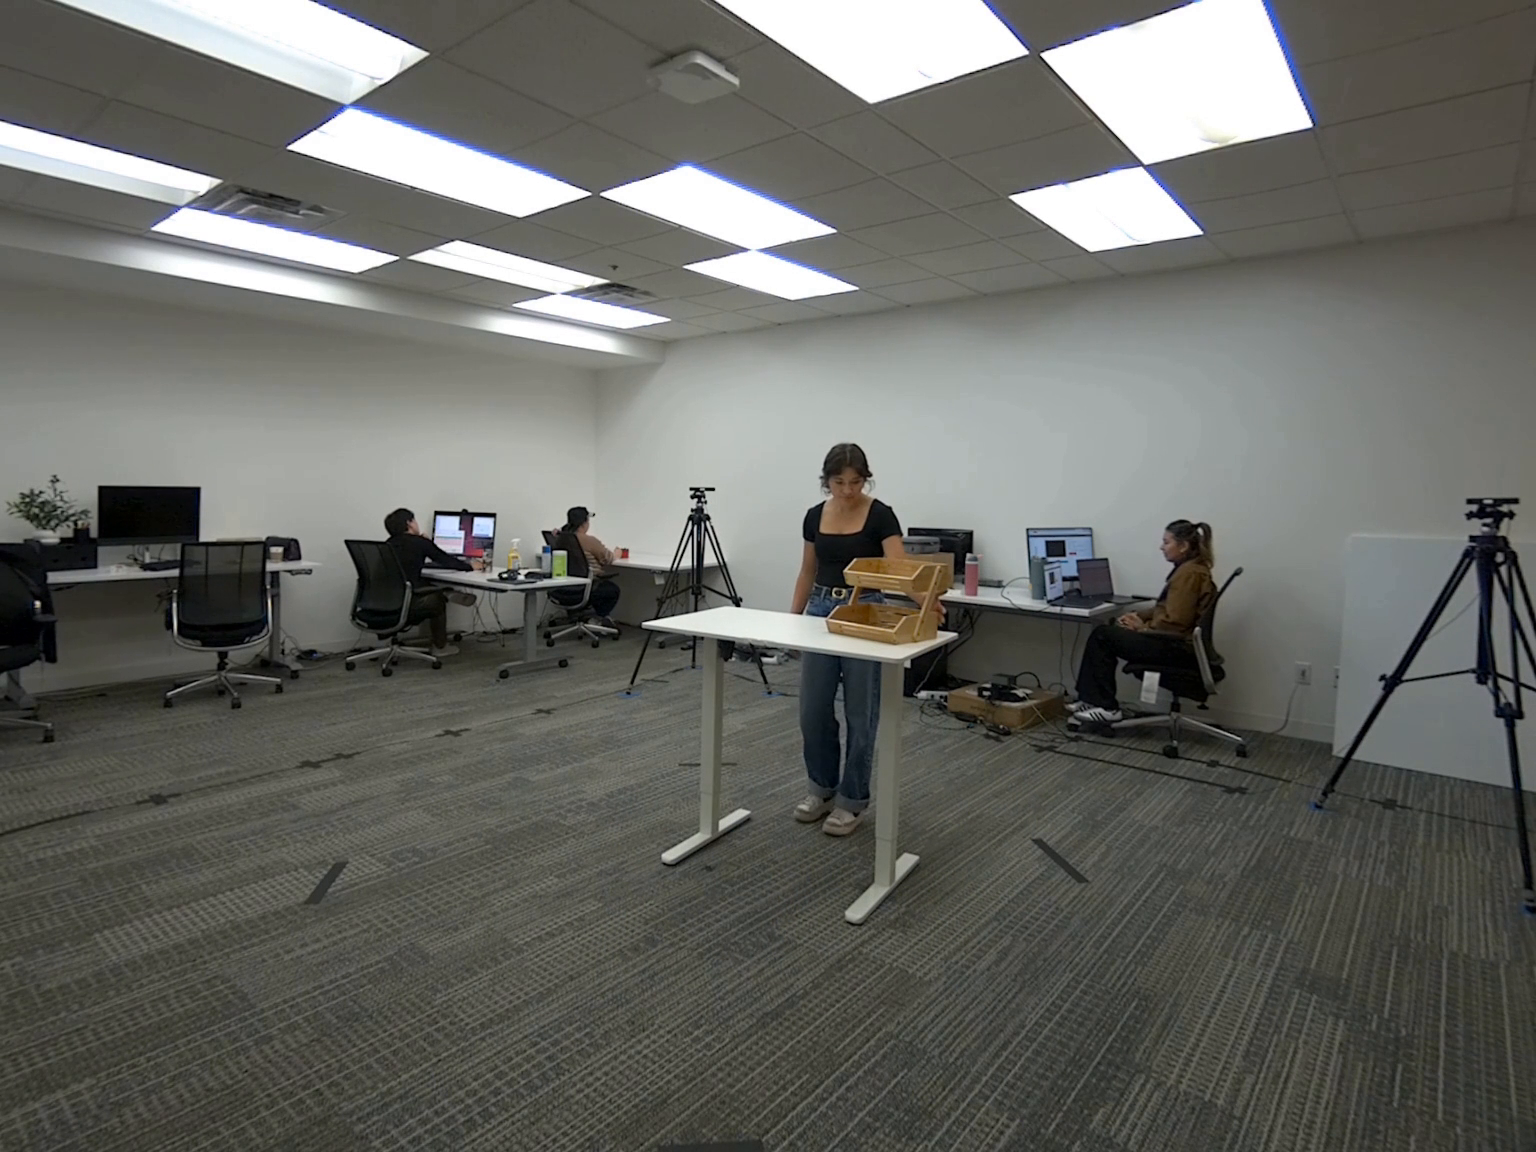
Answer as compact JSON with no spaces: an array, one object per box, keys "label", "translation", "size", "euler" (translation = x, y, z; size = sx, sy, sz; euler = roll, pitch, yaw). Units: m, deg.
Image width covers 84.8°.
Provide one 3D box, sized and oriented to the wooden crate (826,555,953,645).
[{"label":"wooden crate","translation":[0.415,0.073,3.028],"size":[0.293,0.272,0.336],"euler":[-2,6,-44]}]
